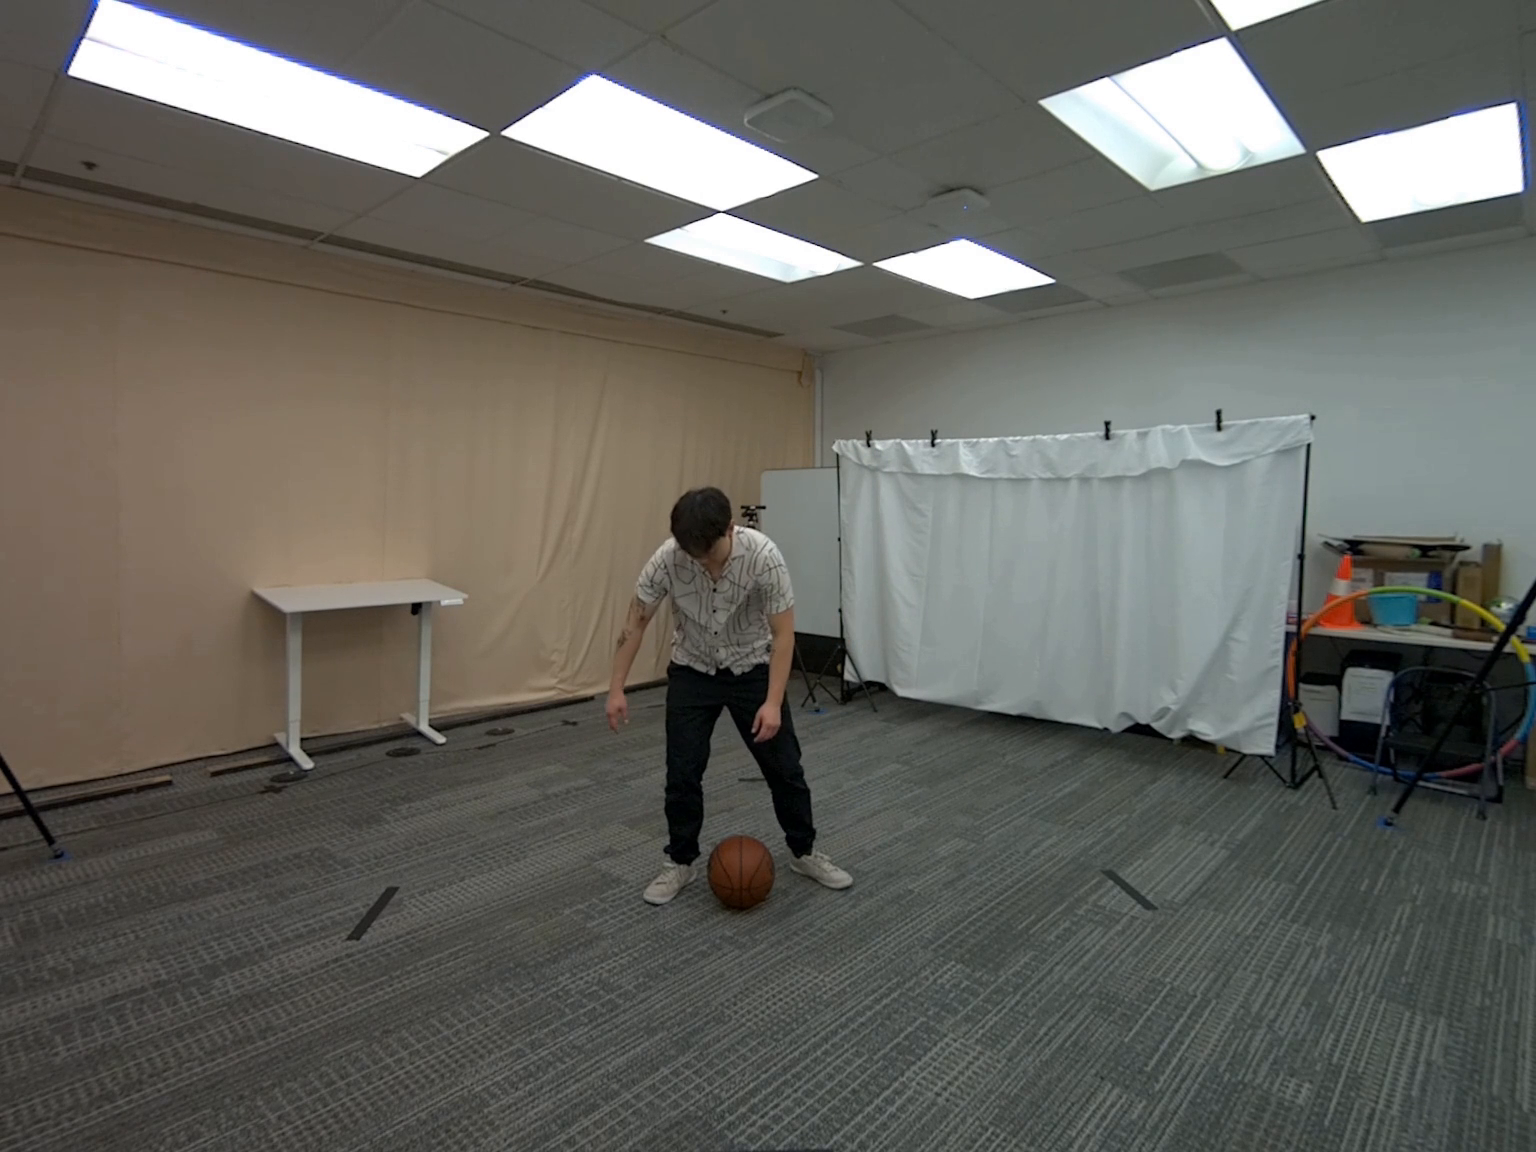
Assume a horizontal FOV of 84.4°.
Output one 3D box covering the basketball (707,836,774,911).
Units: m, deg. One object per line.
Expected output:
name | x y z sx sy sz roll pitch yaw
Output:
basketball | -0.090 1.024 2.937 0.236 0.235 0.237 0 4 -2
